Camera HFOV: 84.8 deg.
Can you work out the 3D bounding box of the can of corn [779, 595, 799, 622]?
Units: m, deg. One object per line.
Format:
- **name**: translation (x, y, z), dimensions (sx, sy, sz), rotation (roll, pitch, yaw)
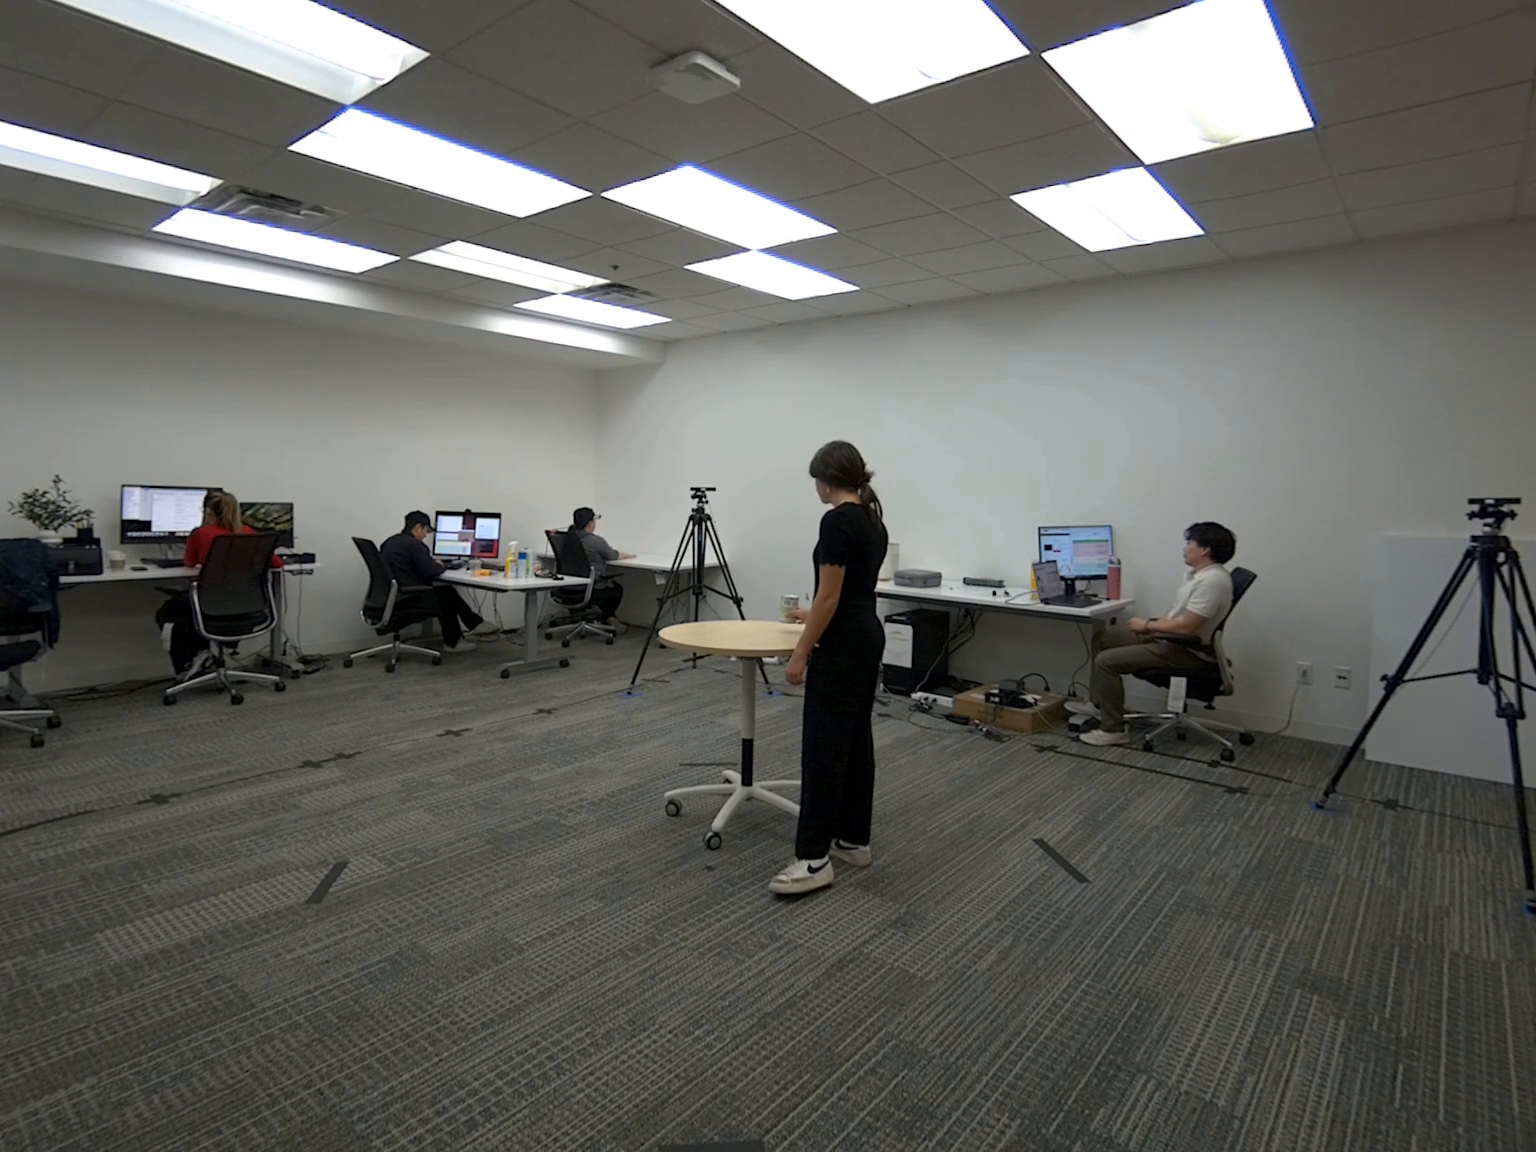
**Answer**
- **can of corn**: translation (0.081, 0.136, 3.634), dimensions (0.074, 0.111, 0.074), rotation (6, 4, -2)
